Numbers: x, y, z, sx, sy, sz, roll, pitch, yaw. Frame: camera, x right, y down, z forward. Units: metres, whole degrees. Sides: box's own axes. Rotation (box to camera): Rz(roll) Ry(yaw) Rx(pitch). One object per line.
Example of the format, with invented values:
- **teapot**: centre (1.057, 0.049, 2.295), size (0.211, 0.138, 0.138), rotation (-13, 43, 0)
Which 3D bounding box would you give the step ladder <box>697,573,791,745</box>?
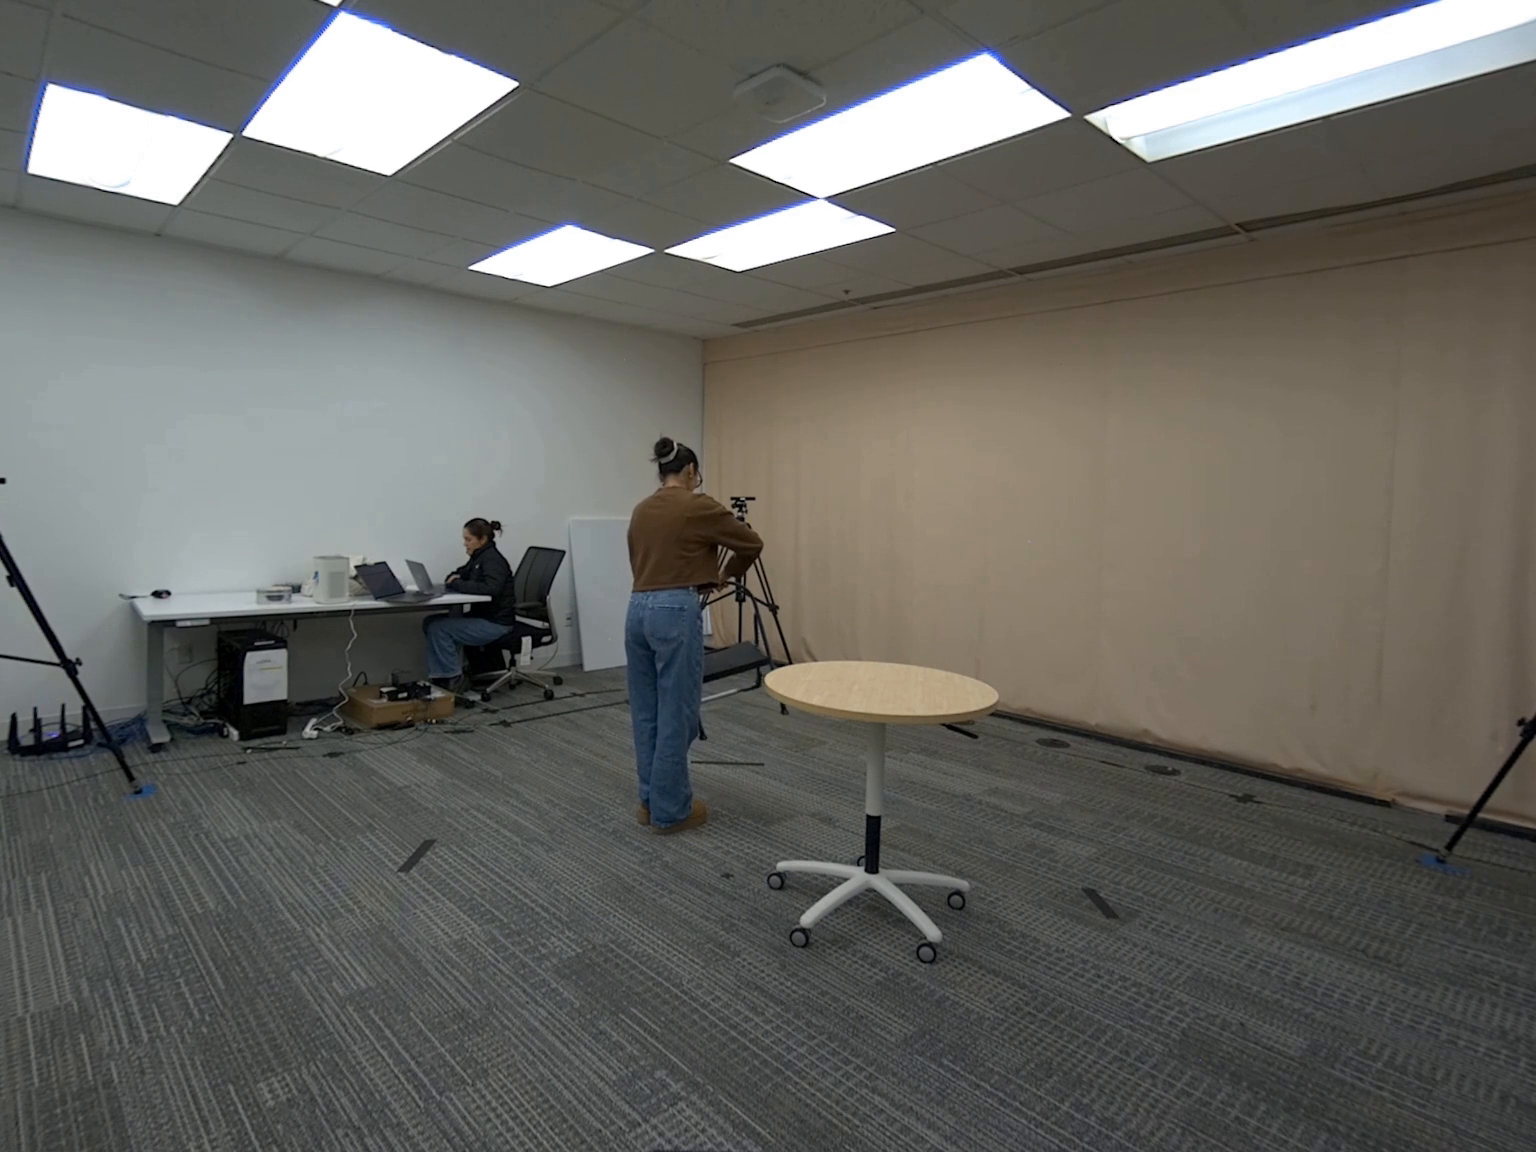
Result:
- **step ladder**: centre (-0.205, 0.352, 3.830), size (0.426, 0.598, 0.358), rotation (-13, 17, -19)
